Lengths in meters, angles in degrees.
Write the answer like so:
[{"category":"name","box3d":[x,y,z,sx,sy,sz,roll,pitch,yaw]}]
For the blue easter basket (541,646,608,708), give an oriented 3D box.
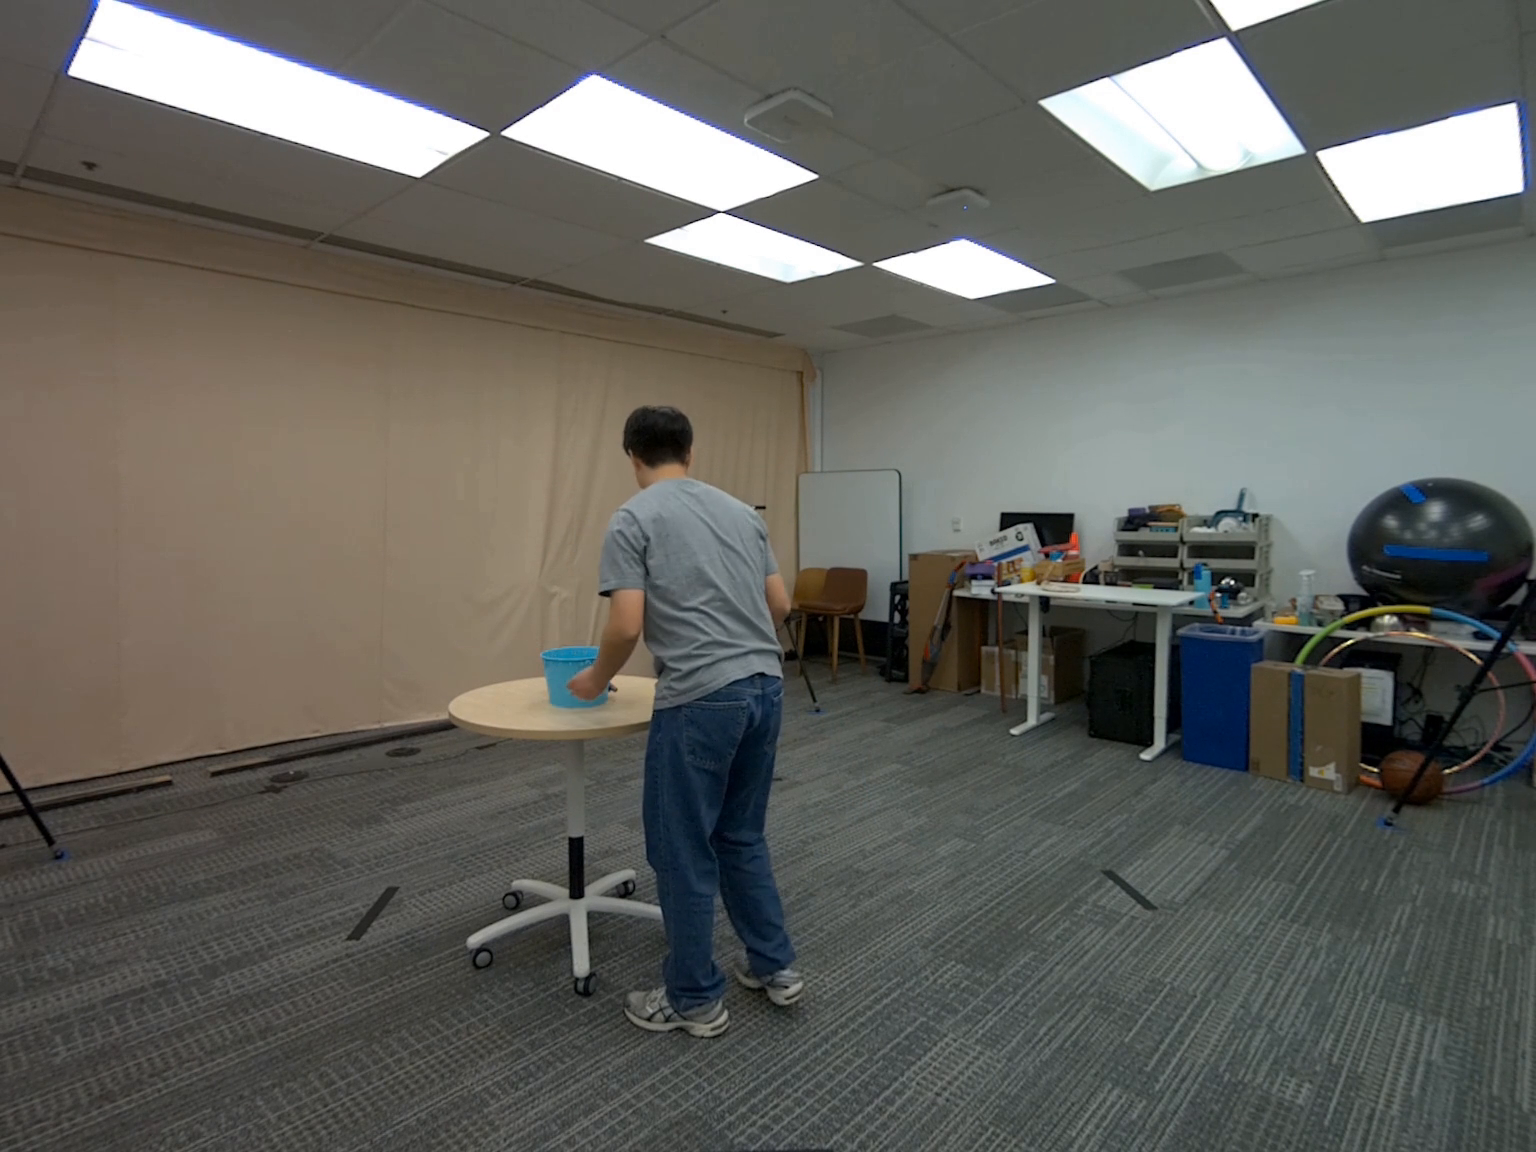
[{"category":"blue easter basket","box3d":[-0.597,0.323,2.631,0.243,0.155,0.244,1,4,-2]}]
